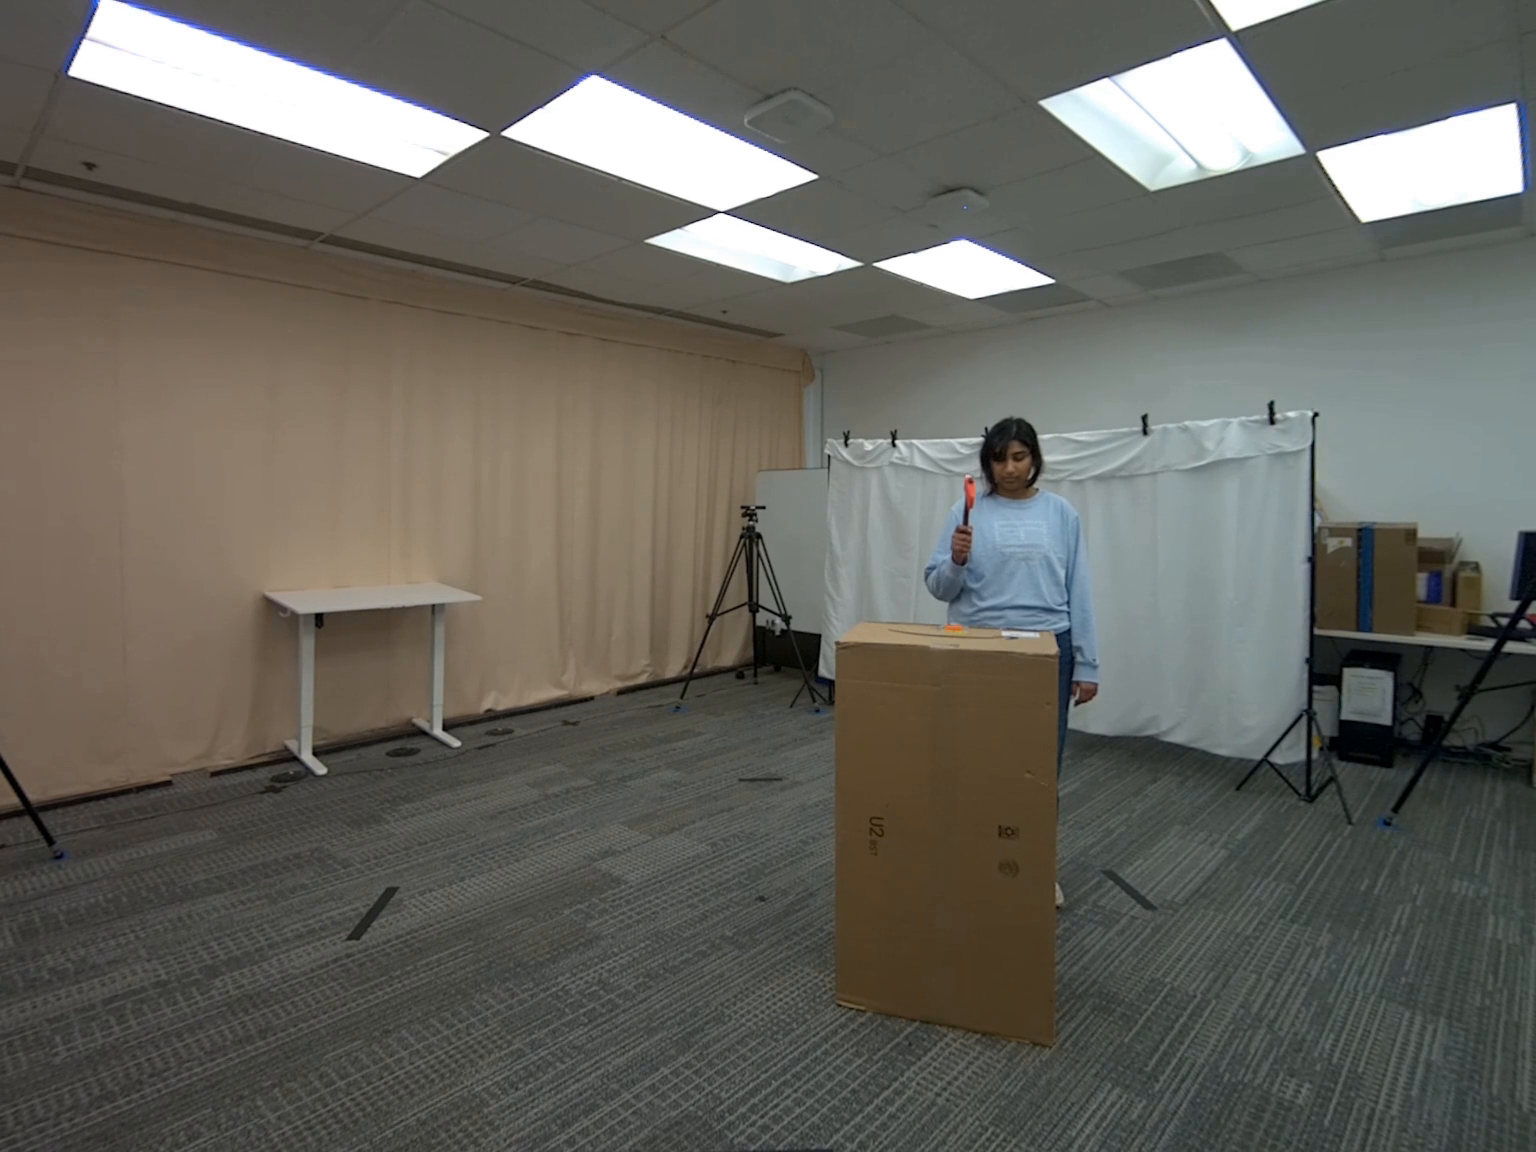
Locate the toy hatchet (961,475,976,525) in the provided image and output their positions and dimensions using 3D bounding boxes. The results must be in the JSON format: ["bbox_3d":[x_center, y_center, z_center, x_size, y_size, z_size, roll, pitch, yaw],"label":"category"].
[{"bbox_3d":[0.664,-0.187,2.745,0.030,0.267,0.132,1,20,1],"label":"toy hatchet"}]
